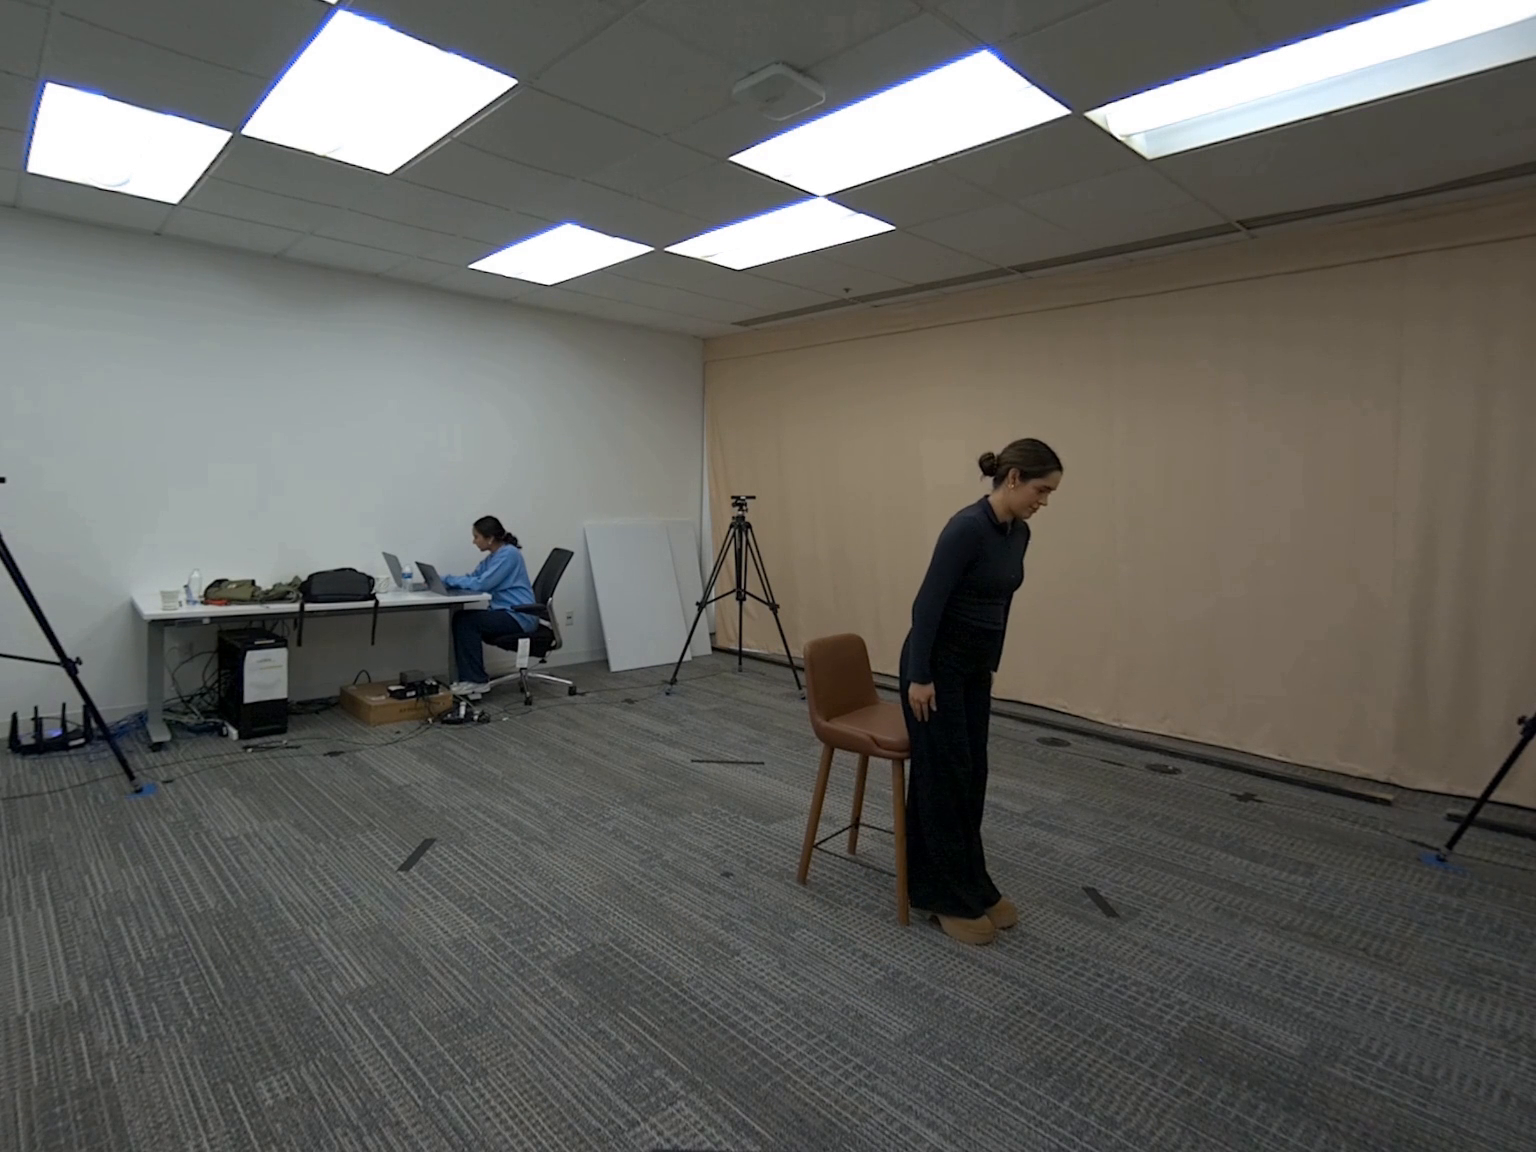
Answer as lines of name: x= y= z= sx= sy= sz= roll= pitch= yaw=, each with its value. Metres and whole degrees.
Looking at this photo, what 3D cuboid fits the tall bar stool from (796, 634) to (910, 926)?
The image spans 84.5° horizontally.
tall bar stool: x=0.396 y=0.685 z=3.033 sx=0.479 sy=0.888 sz=0.446 roll=3 pitch=3 yaw=38
